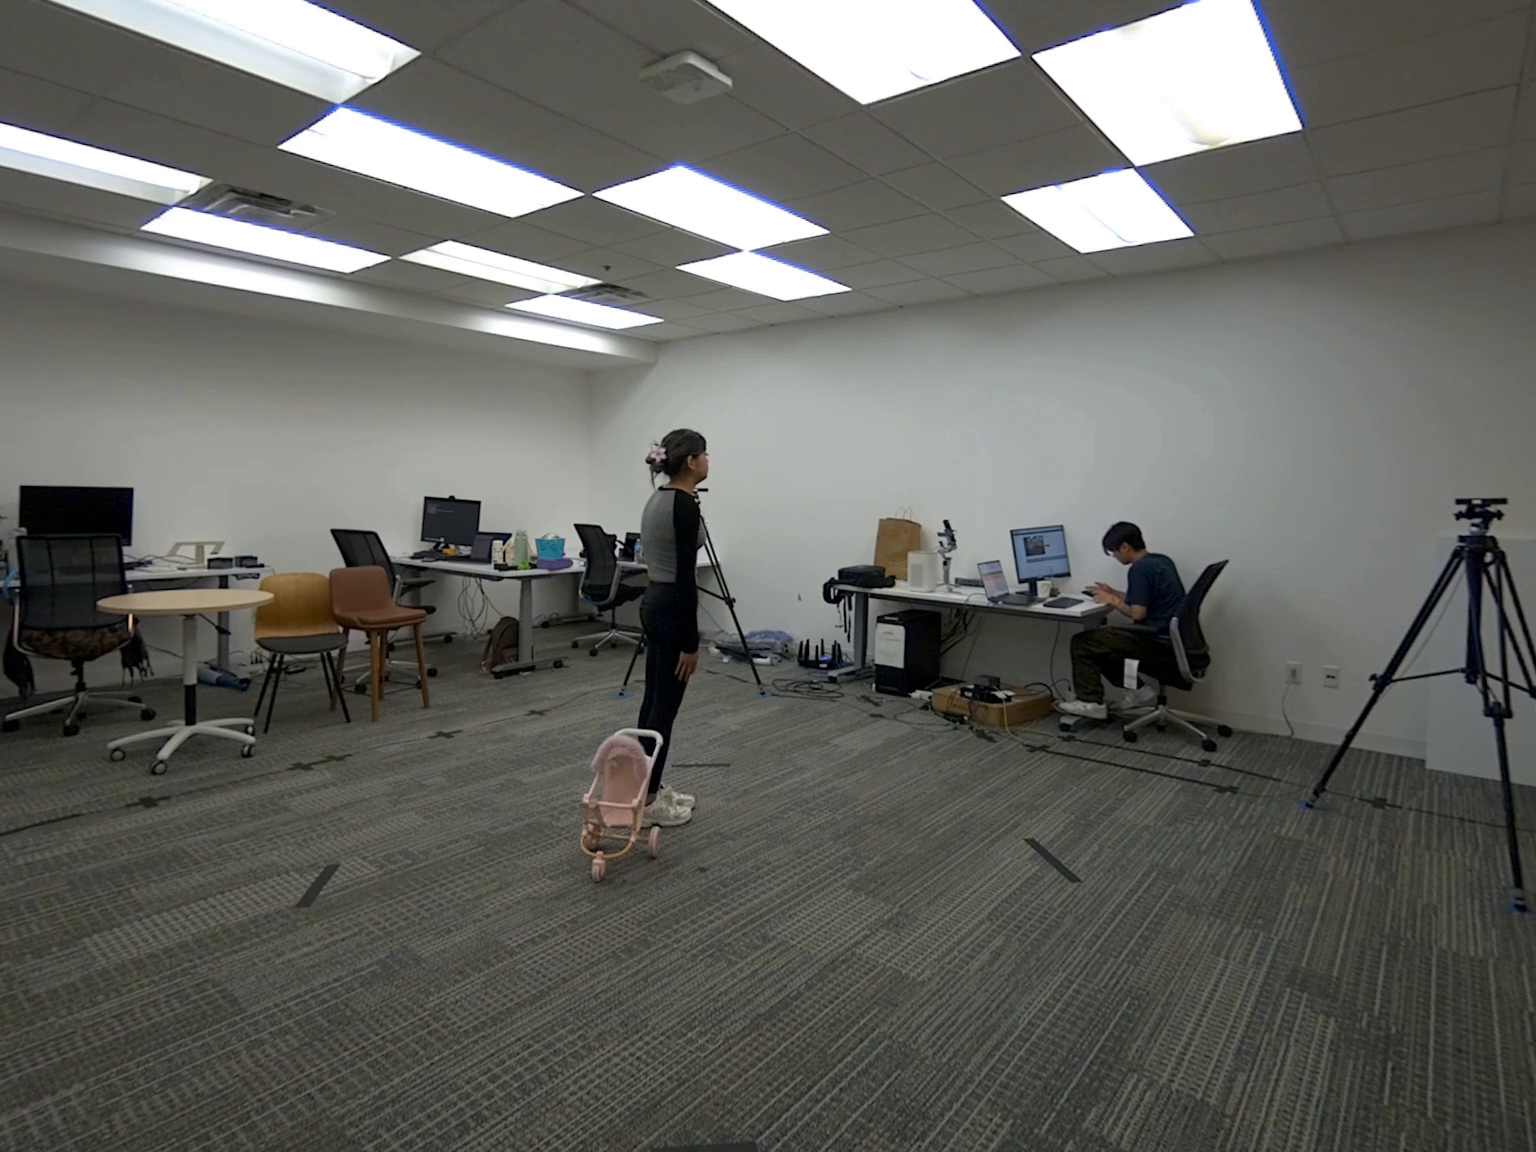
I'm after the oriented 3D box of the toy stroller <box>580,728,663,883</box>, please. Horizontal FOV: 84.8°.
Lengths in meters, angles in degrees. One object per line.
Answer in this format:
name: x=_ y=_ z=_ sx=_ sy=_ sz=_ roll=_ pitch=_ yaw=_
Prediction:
toy stroller: x=-0.569 y=0.833 z=3.173 sx=0.286 sy=0.541 sz=0.332 roll=2 pitch=-12 yaw=15
